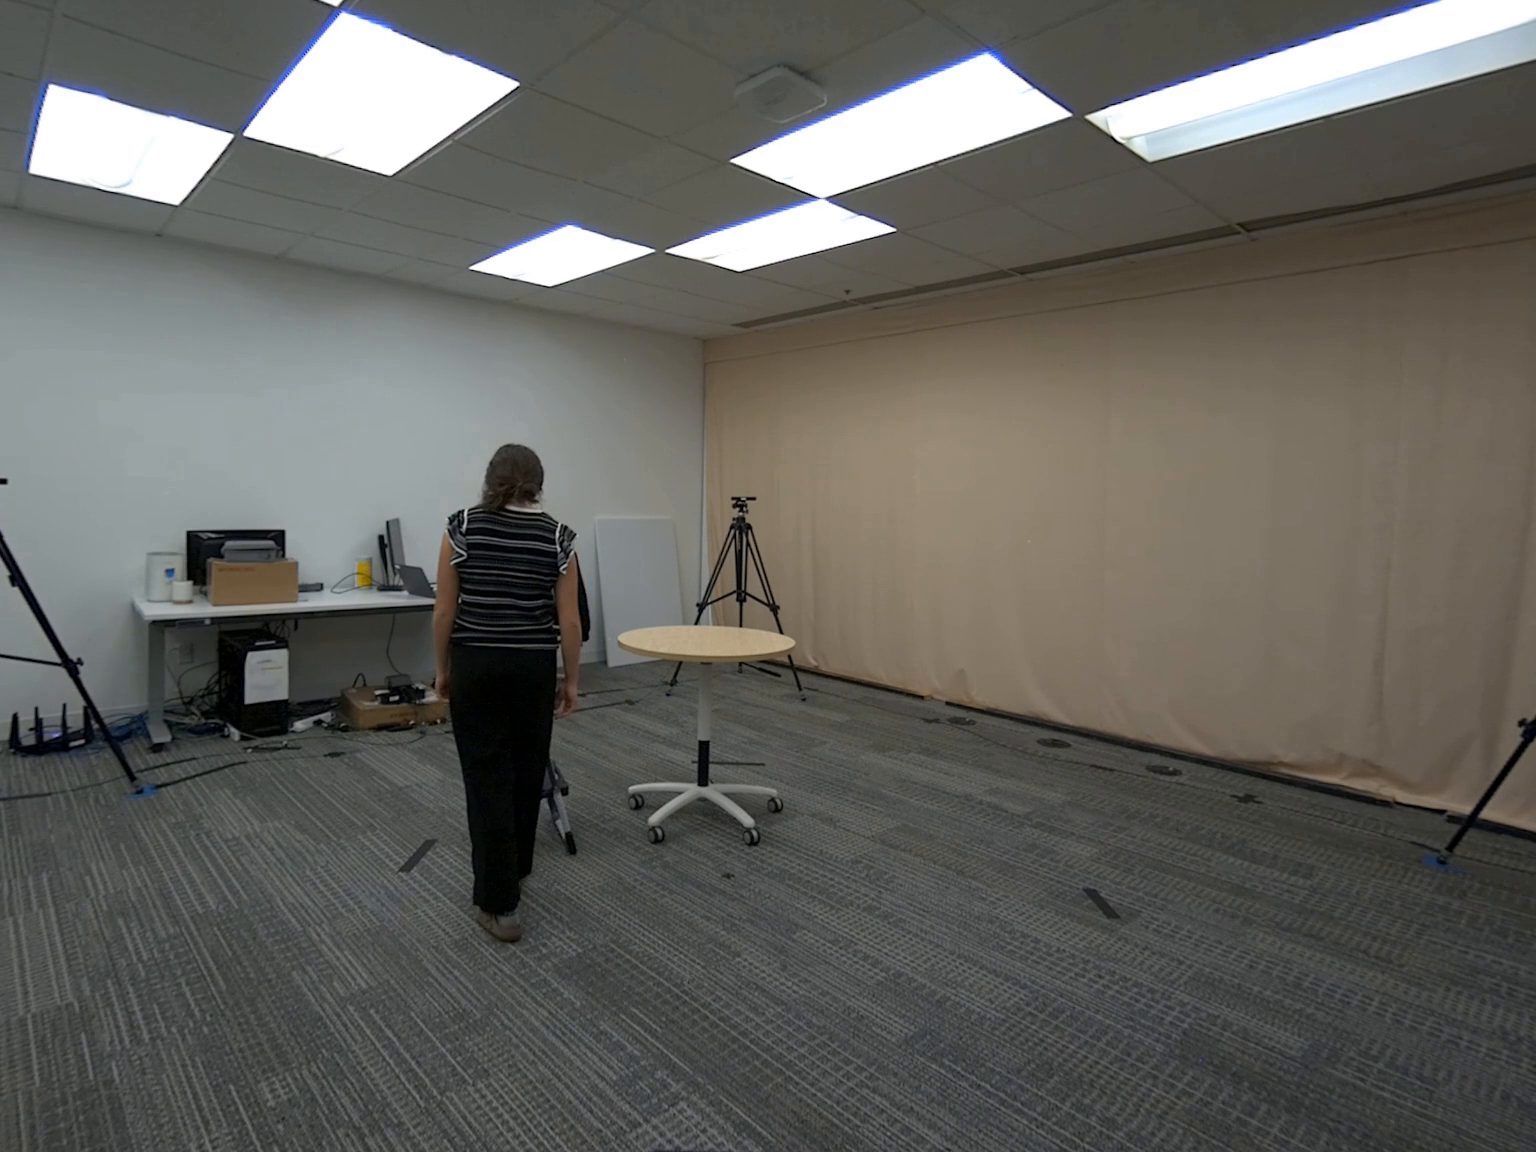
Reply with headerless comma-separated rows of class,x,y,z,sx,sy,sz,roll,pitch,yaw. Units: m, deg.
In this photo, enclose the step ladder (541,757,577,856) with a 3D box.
step ladder,-0.980,0.768,3.369,0.343,0.605,0.439,0,4,-24
